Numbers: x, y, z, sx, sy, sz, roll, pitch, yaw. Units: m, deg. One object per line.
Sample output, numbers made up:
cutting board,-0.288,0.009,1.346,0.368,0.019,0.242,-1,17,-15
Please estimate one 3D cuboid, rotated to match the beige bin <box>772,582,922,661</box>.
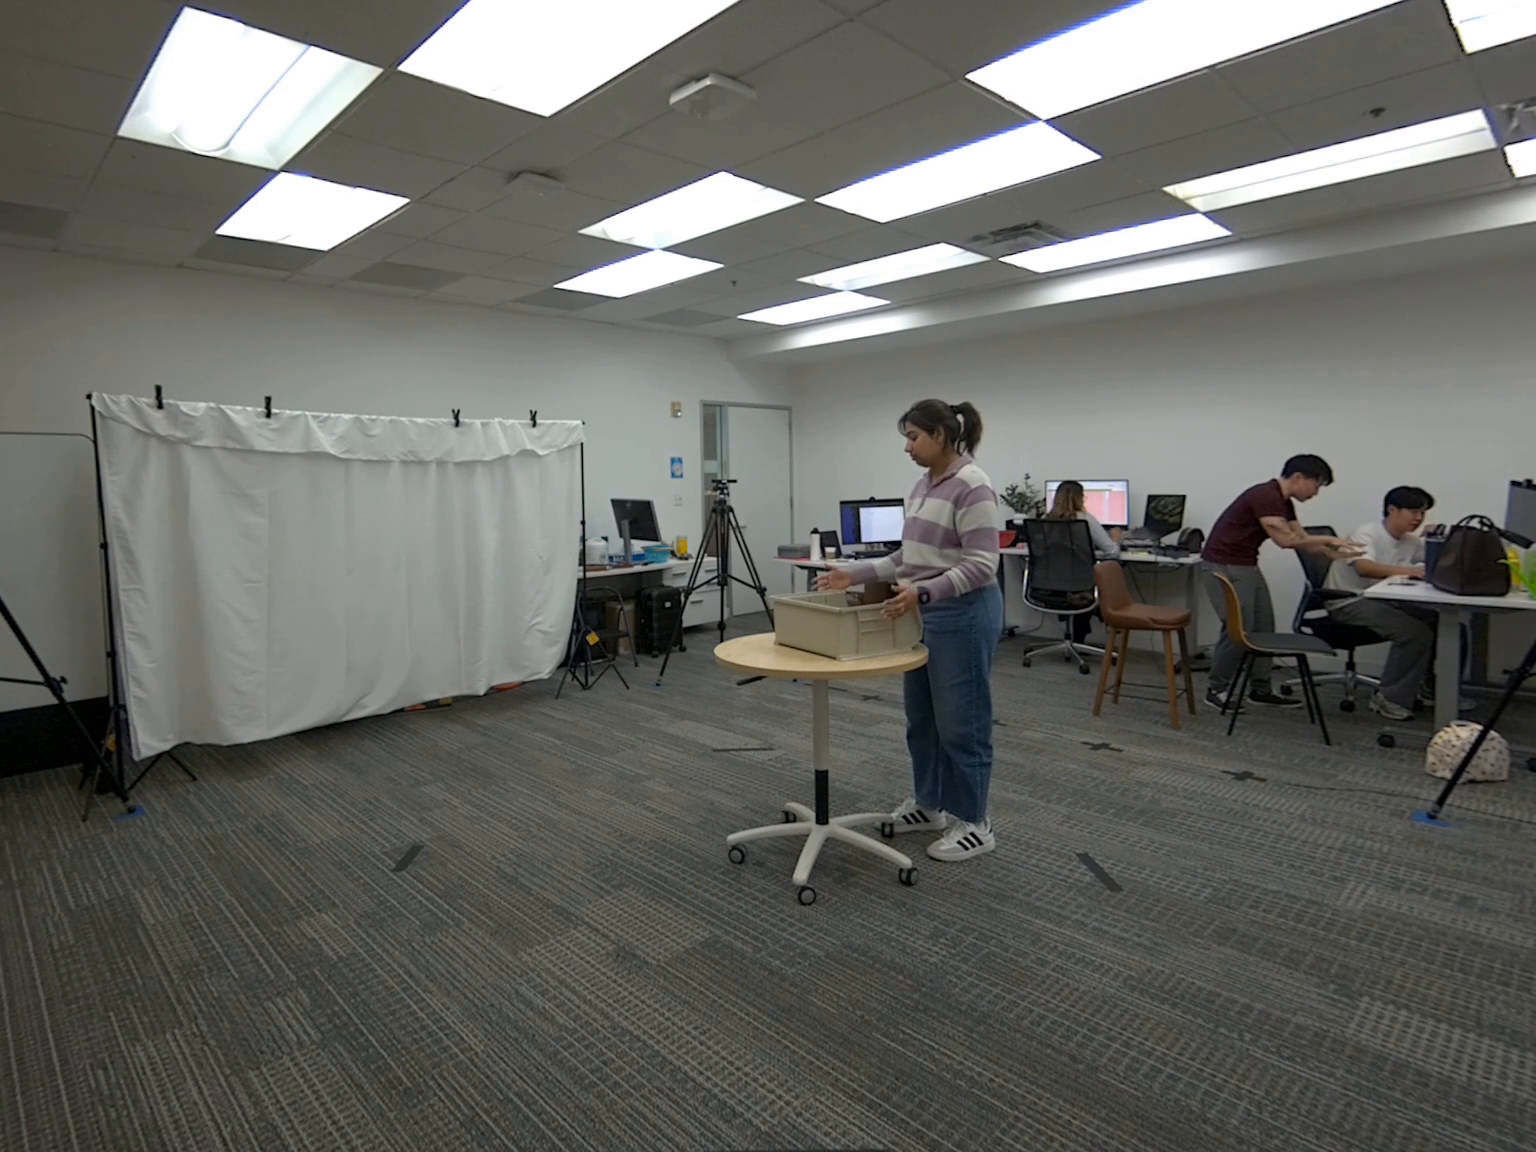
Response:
beige bin,0.285,0.166,3.104,0.369,0.188,0.434,-6,8,-31
